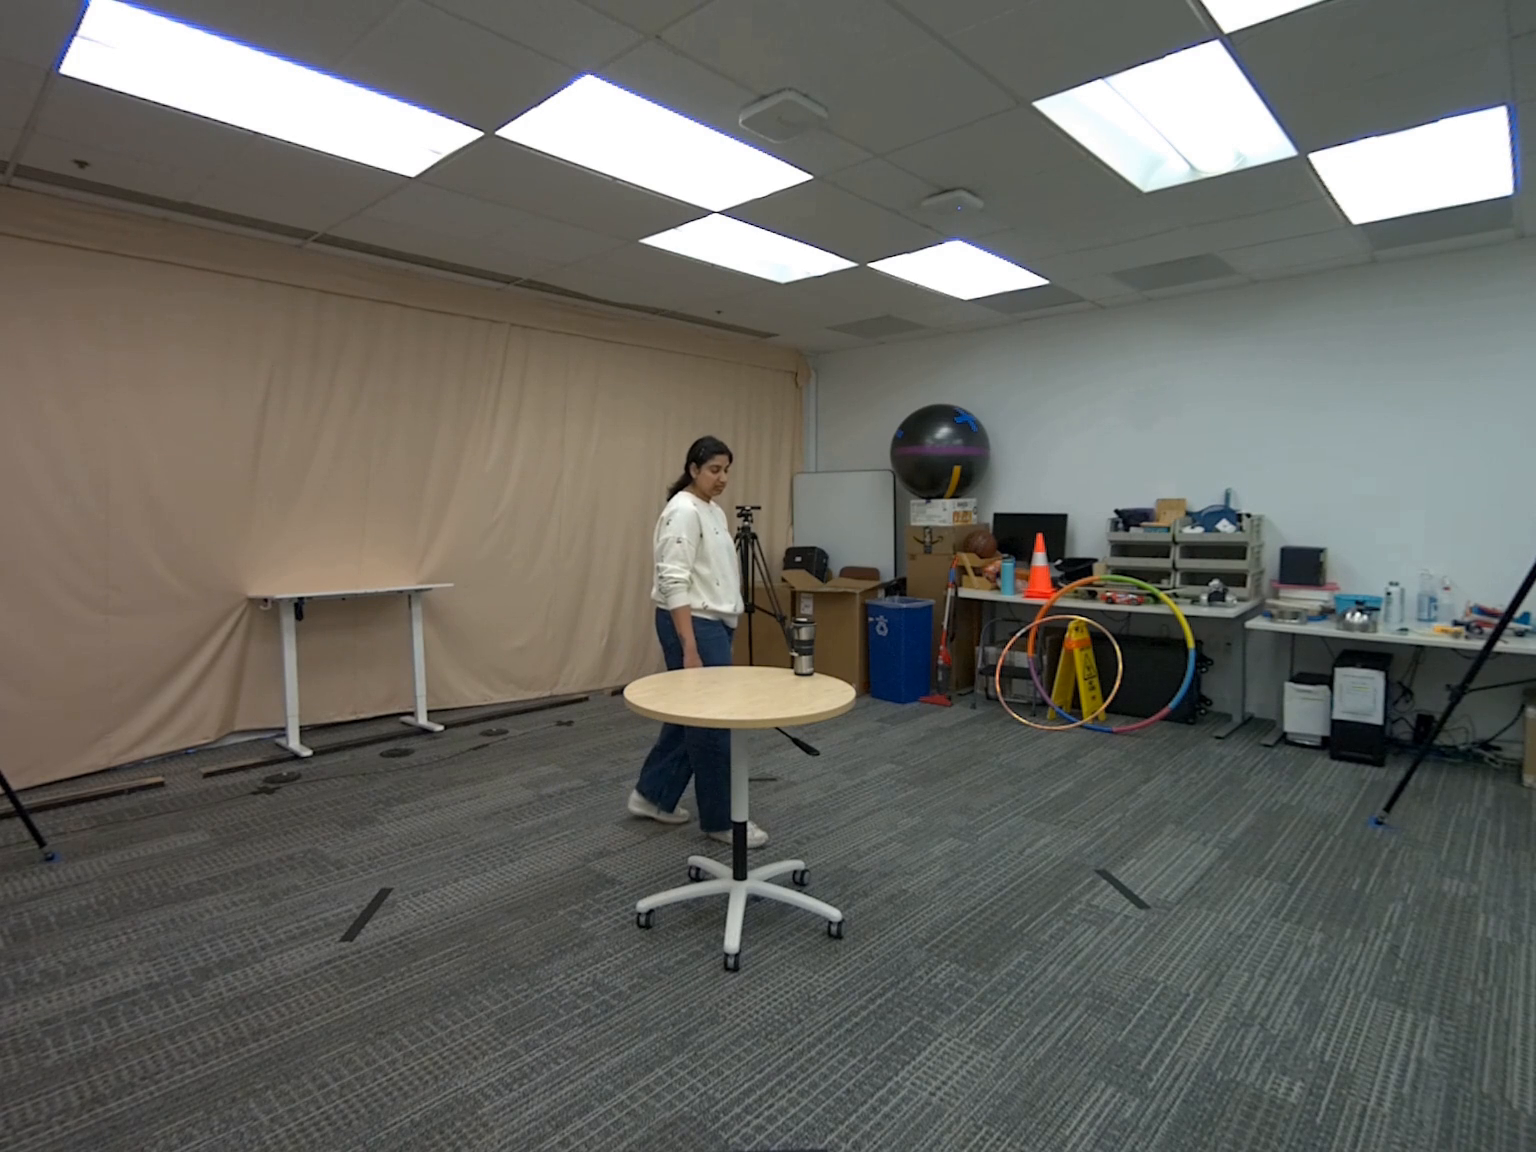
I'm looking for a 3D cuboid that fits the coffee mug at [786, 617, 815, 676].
[{"bbox_3d":[0.112,0.254,3.016,0.119,0.202,0.090,1,4,-24],"label":"coffee mug"}]
